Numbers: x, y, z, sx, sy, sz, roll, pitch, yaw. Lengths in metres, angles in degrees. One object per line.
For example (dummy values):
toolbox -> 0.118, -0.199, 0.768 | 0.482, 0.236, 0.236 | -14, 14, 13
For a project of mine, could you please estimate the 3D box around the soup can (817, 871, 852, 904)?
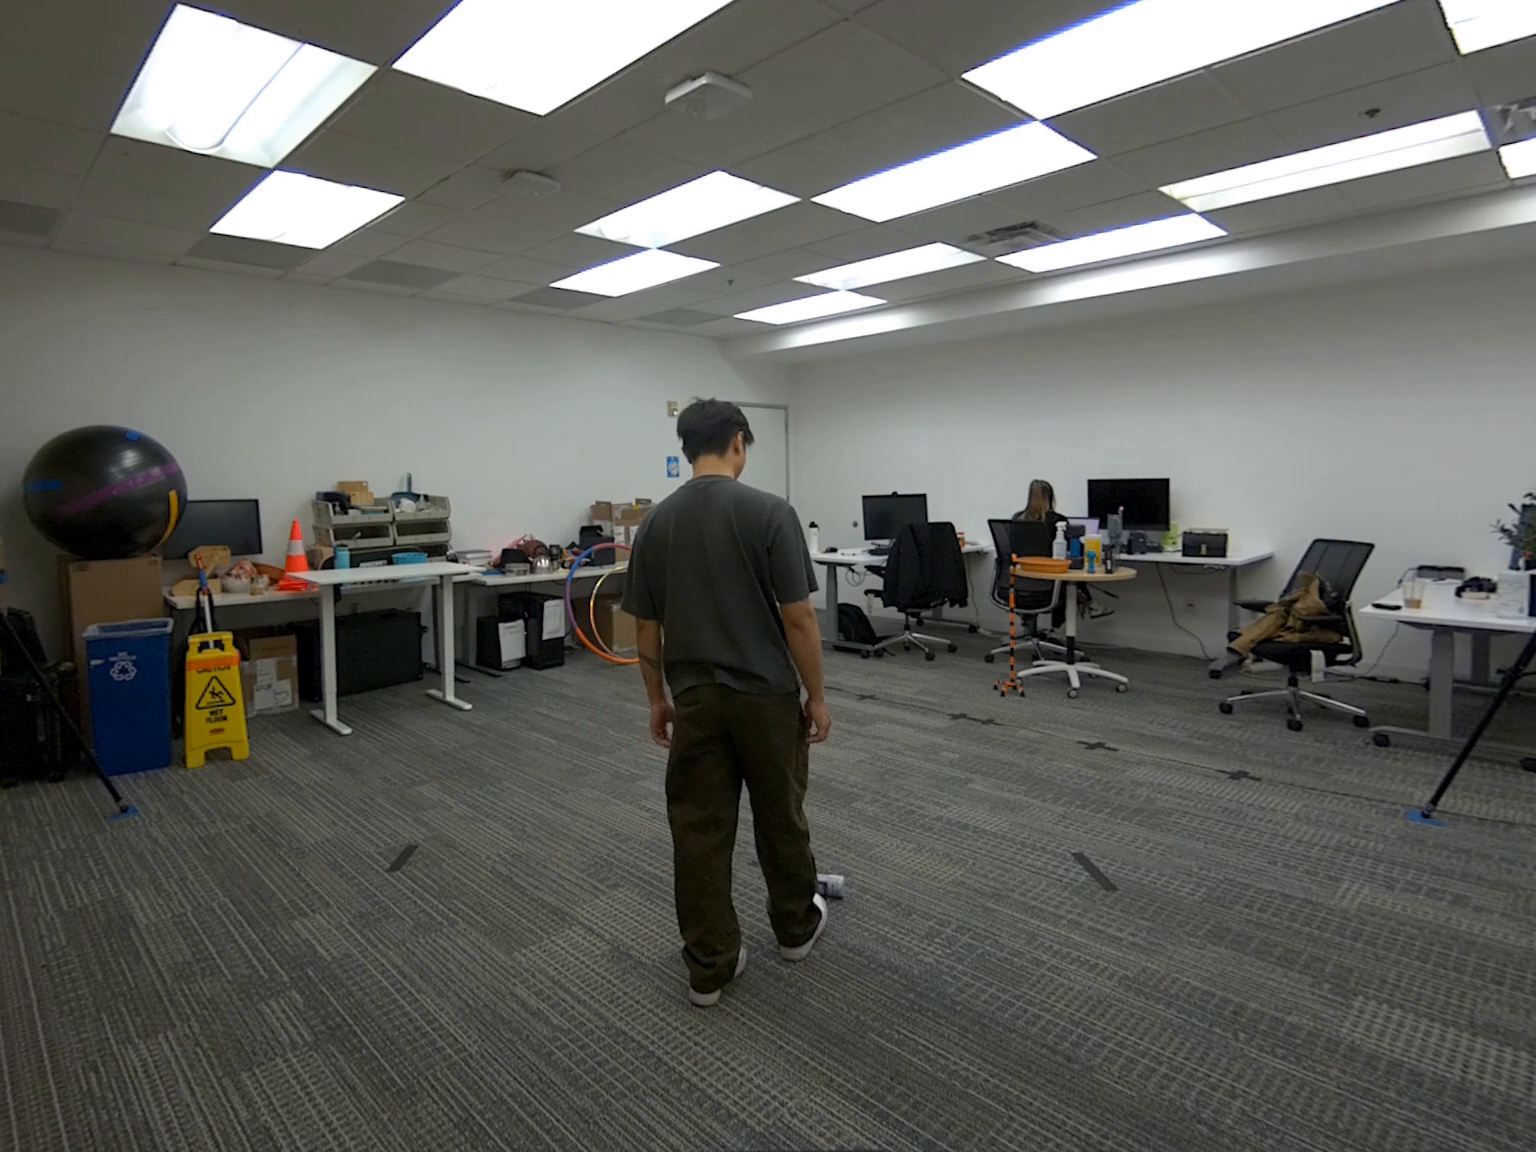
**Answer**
soup can -> 0.210, 1.035, 2.854 | 0.123, 0.067, 0.066 | -2, 4, 15
